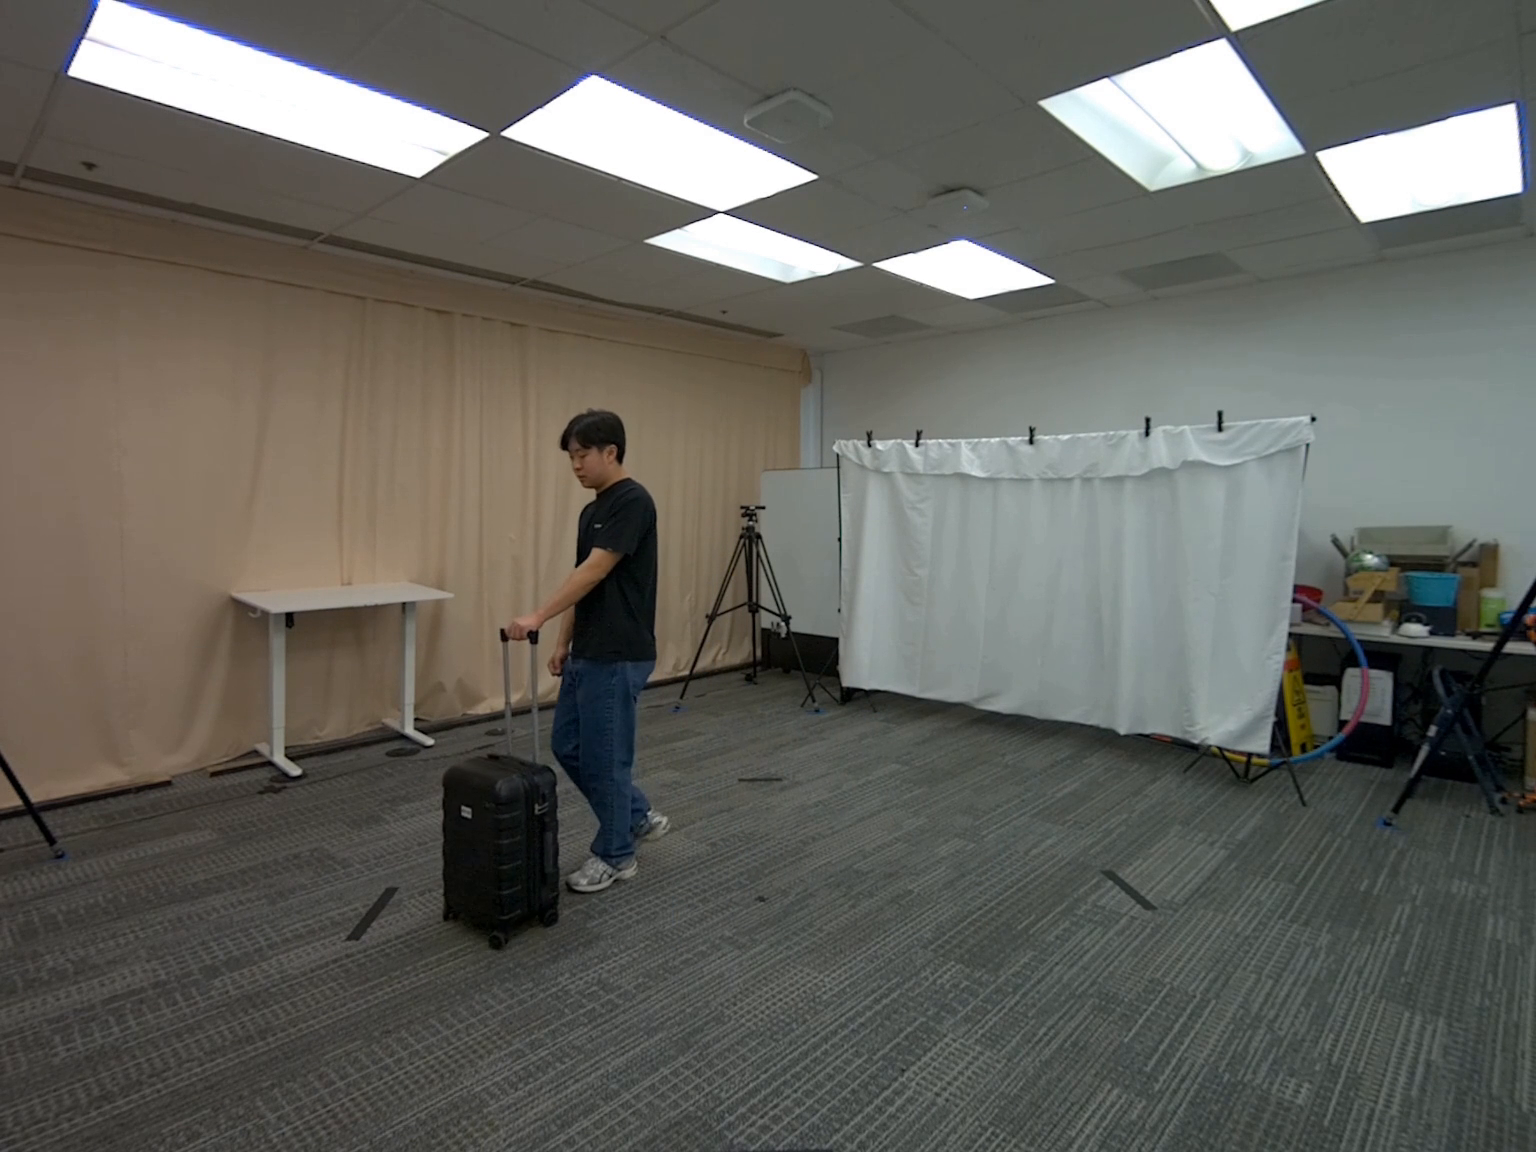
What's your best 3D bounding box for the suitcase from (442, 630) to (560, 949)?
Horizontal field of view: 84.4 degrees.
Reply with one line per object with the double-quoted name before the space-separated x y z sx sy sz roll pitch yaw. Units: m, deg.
"suitcase" -0.905 0.692 2.797 0.396 0.975 0.250 2 6 37
